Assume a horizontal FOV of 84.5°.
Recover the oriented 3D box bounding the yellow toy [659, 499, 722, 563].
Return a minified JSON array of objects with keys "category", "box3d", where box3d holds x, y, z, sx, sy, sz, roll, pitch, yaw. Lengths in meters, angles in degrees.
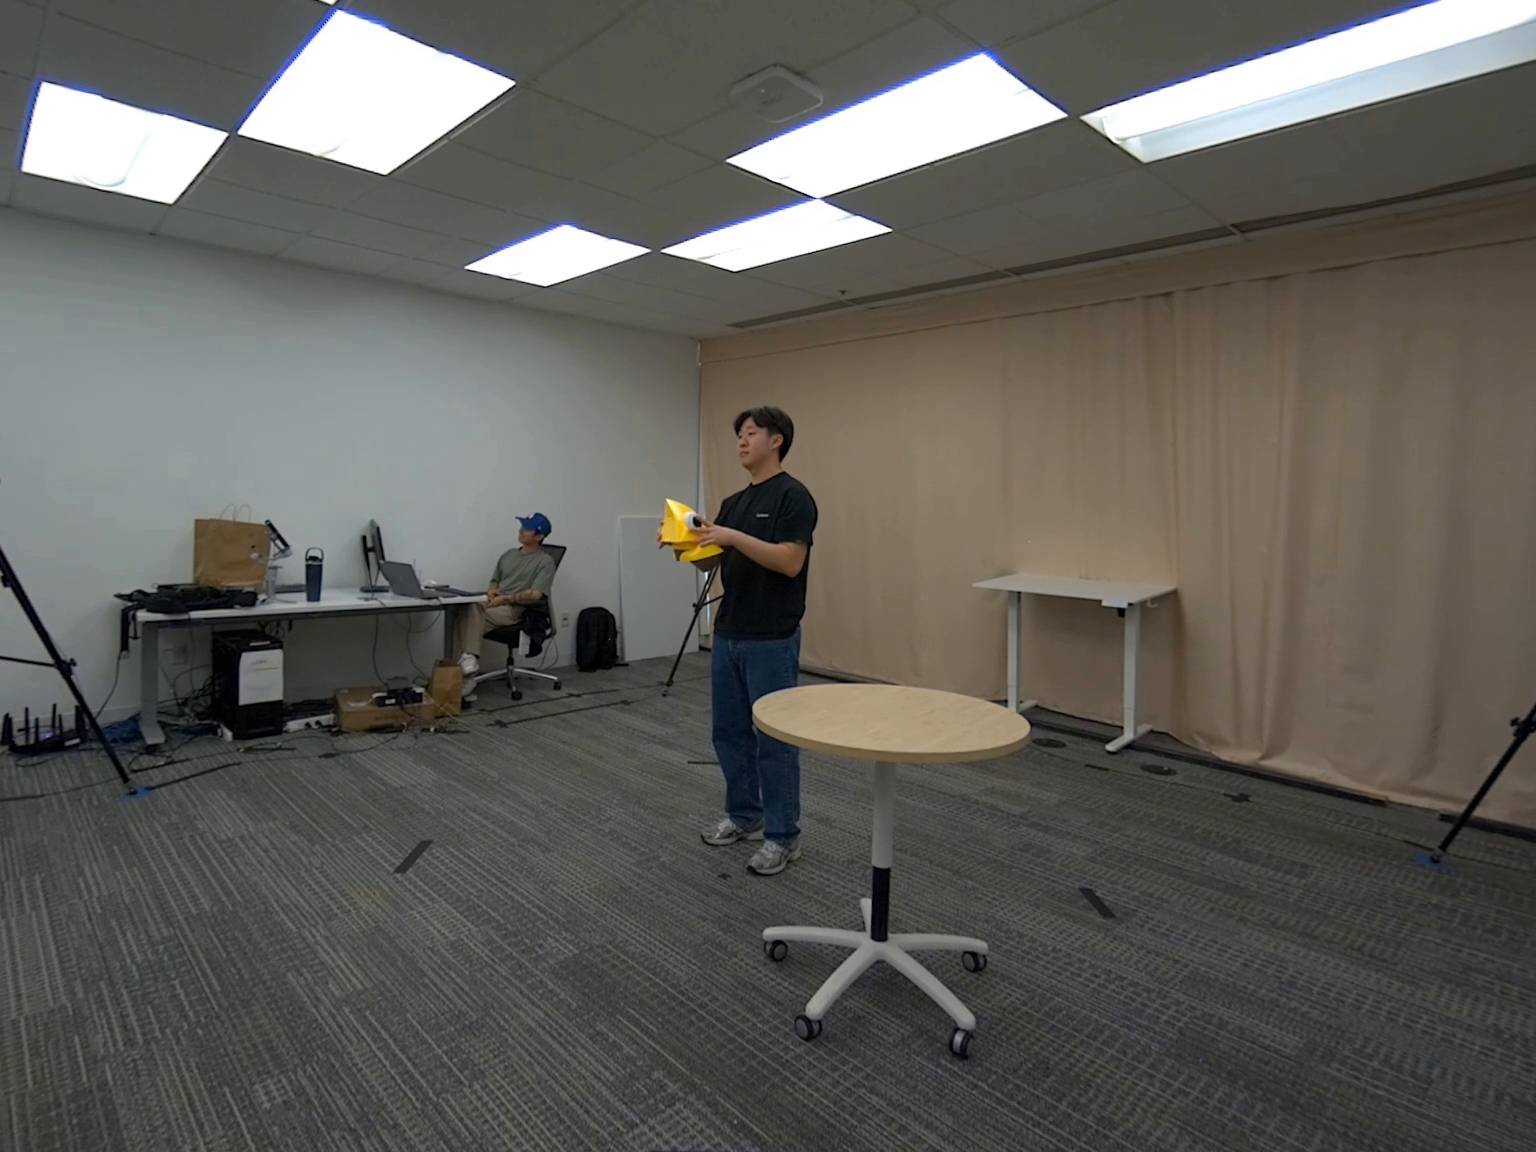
[{"category":"yellow toy","box3d":[-0.296,-0.180,3.088,0.191,0.229,0.208,-15,9,-22]}]
